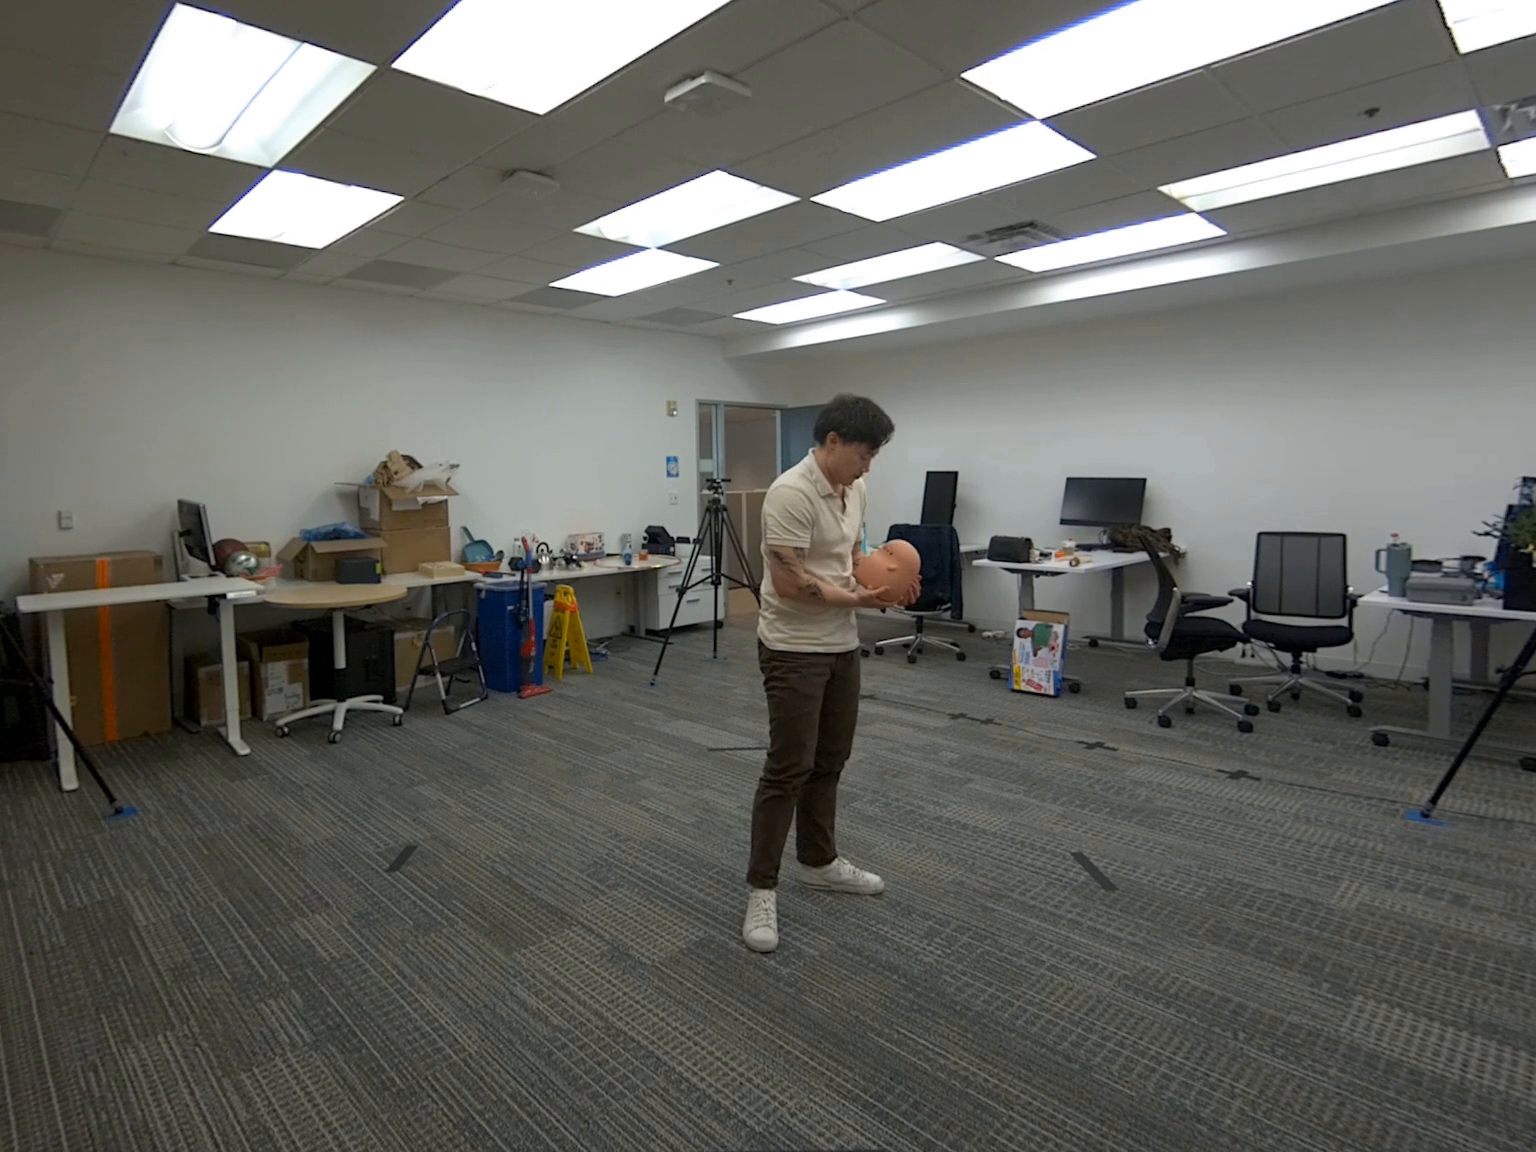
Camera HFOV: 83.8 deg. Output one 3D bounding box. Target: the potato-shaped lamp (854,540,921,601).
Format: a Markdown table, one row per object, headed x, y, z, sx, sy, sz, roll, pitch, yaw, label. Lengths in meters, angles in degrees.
| x | y | z | sx | sy | sz | roll | pitch | yaw | label |
| --- | --- | --- | --- | --- | --- | --- | --- | --- | --- |
| 0.374 | -0.027 | 2.740 | 0.165 | 0.198 | 0.171 | 30 | 7 | -33 | potato-shaped lamp |
